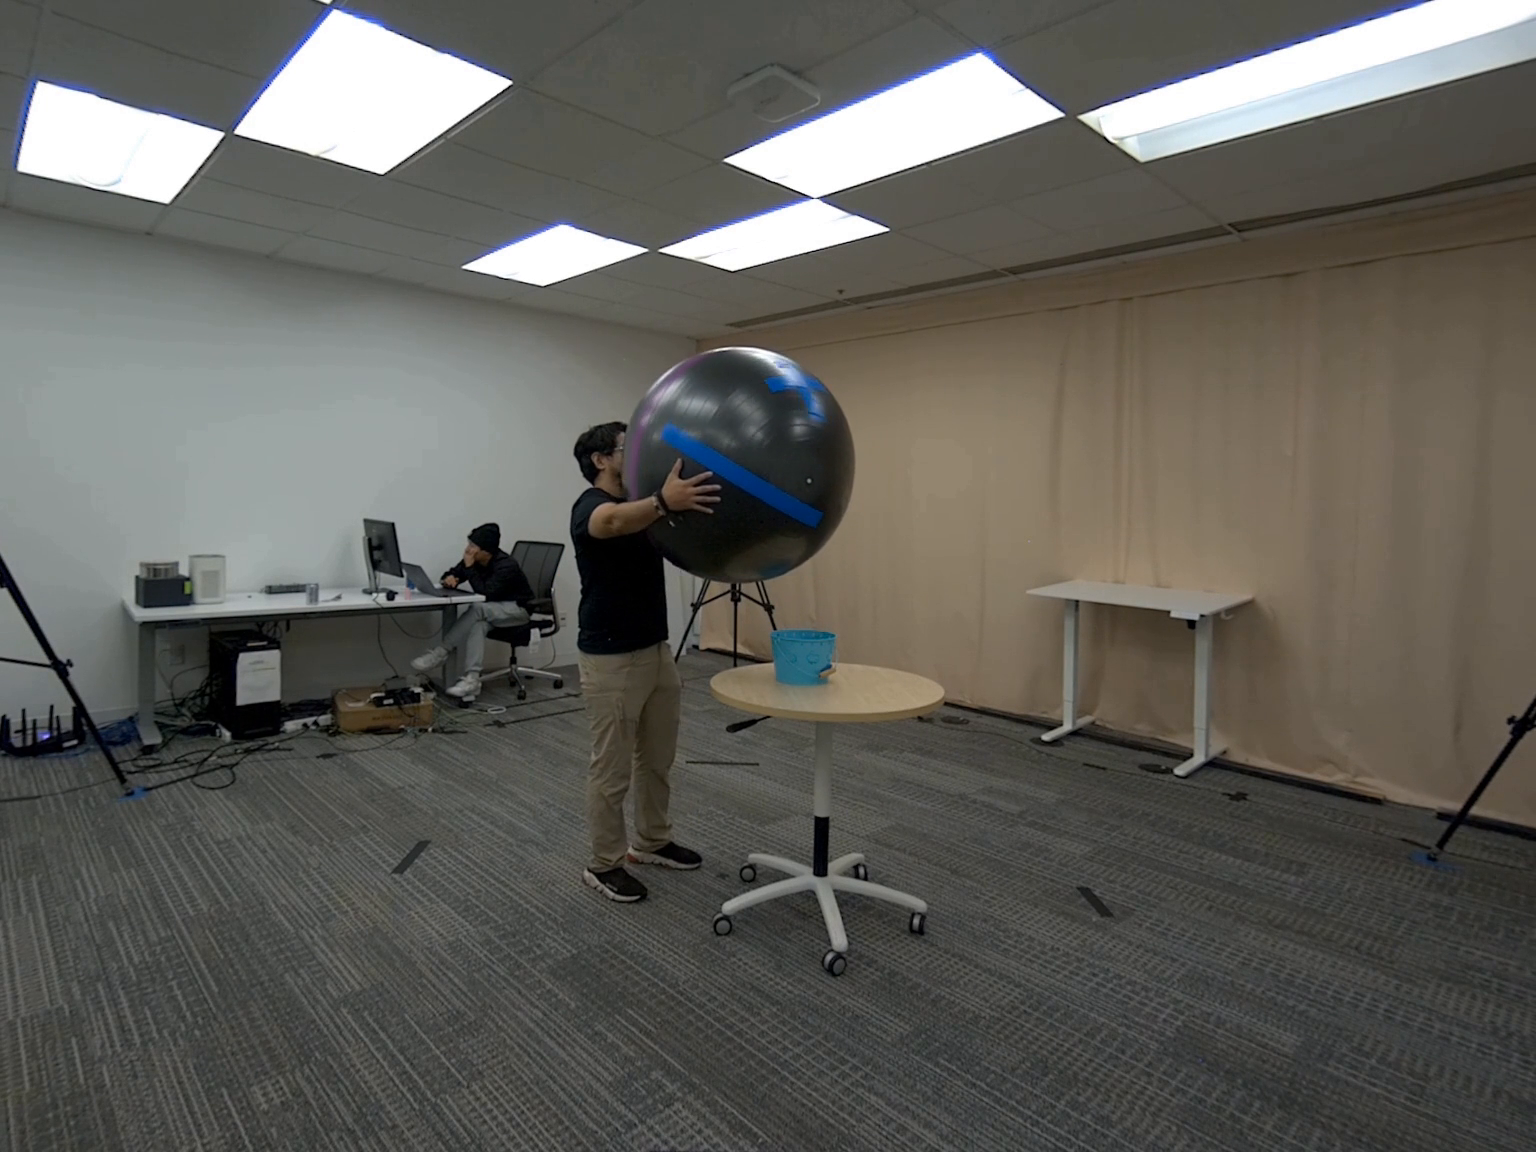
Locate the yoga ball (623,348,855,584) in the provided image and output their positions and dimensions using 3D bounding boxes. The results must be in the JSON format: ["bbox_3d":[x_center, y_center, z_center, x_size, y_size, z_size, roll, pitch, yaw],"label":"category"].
[{"bbox_3d":[-0.103,-0.345,2.737,0.757,0.756,0.761,1,4,-1],"label":"yoga ball"}]
